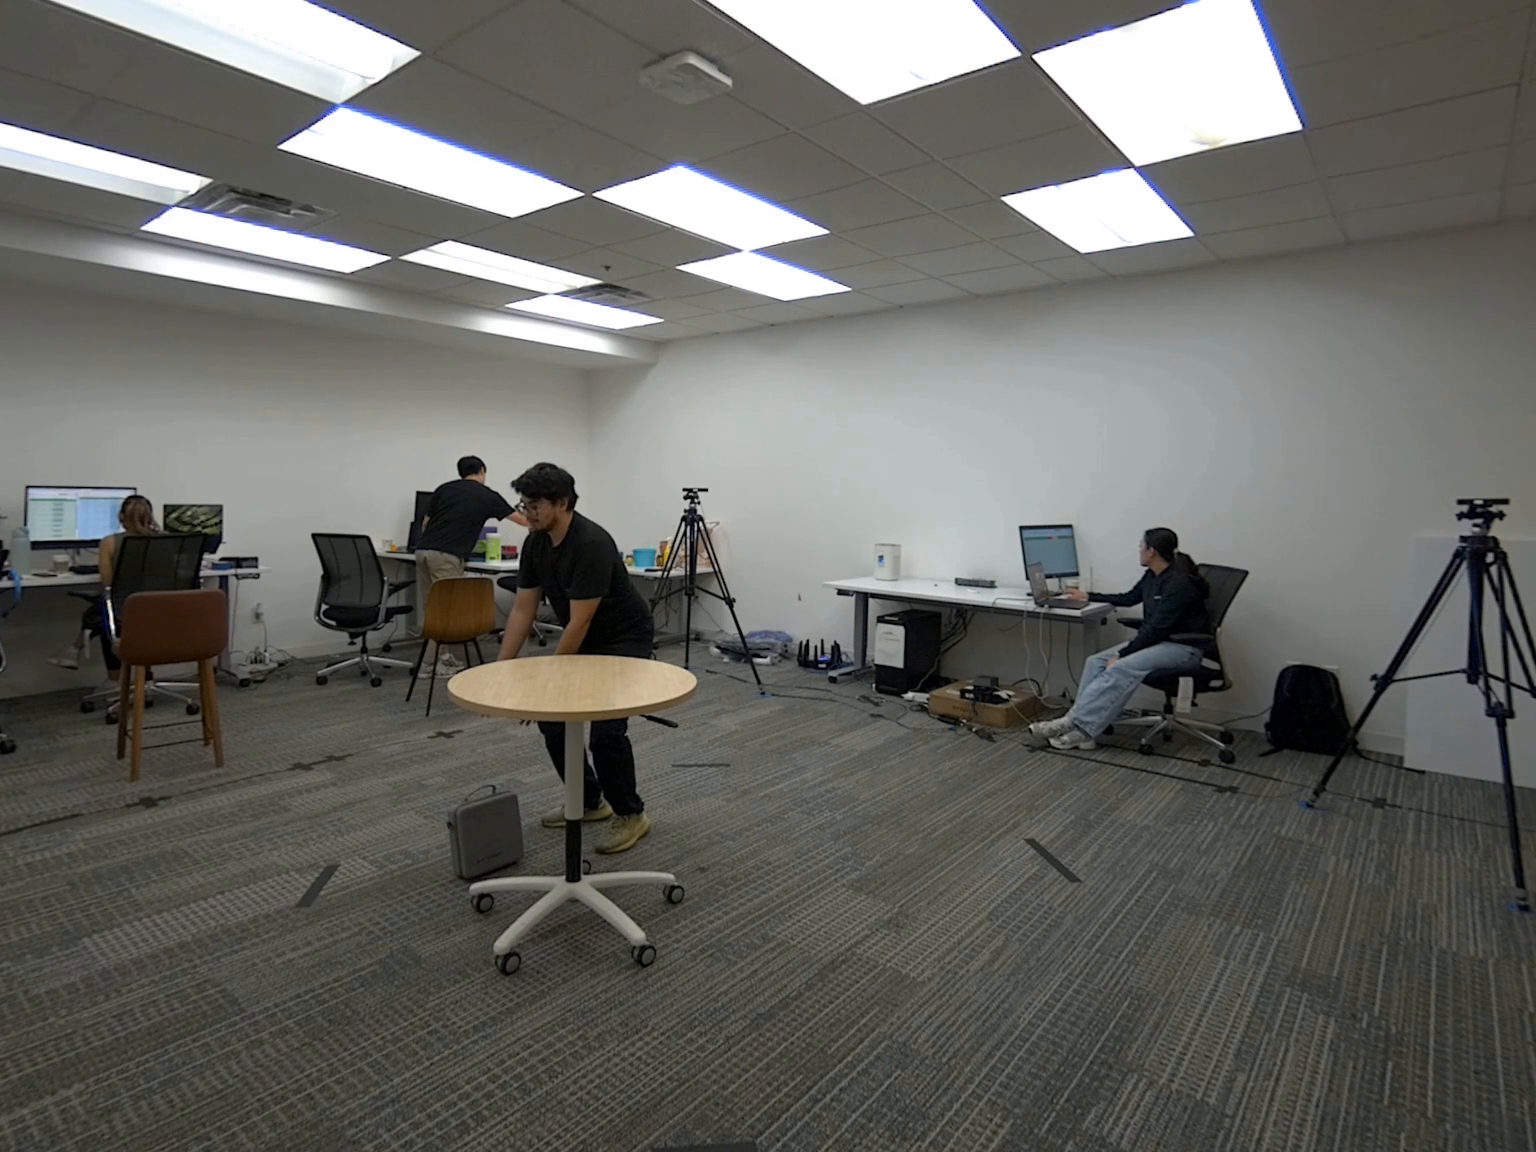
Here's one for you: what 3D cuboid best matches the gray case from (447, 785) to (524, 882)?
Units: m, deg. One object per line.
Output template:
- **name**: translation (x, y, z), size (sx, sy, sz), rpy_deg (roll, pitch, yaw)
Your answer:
- **gray case**: translation (-1.042, 0.927, 3.090), size (0.107, 0.261, 0.249), rpy_deg (-10, -3, 43)
